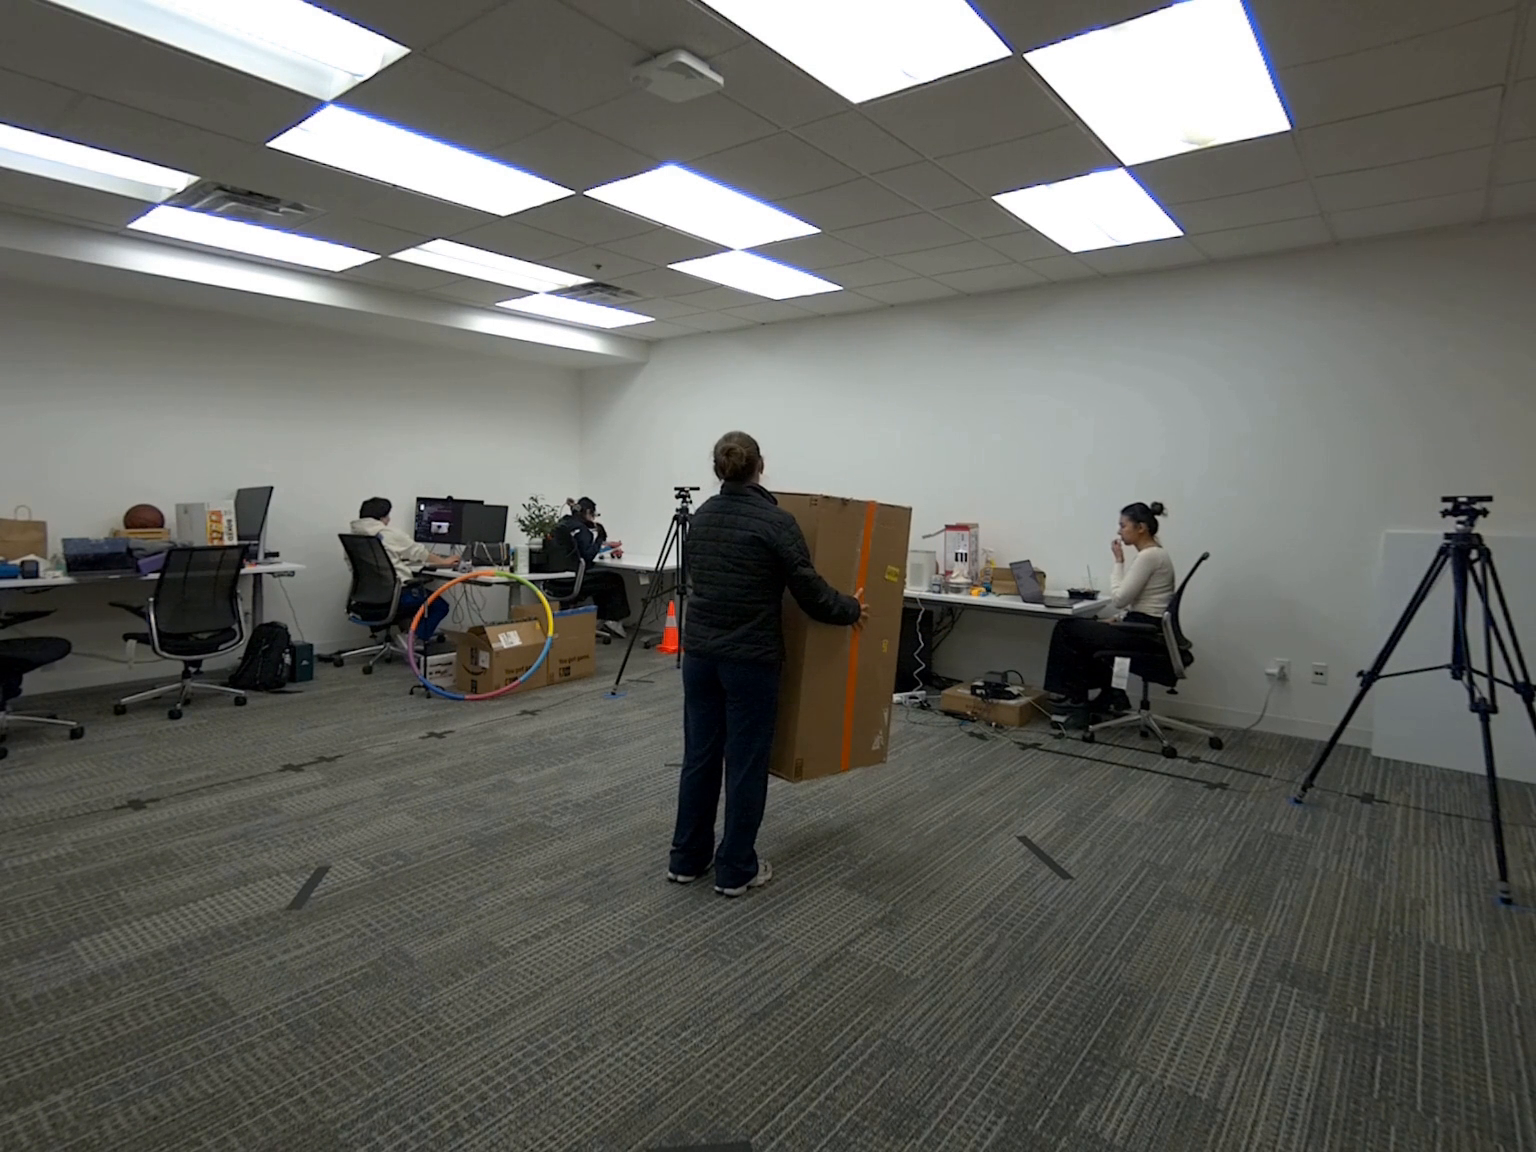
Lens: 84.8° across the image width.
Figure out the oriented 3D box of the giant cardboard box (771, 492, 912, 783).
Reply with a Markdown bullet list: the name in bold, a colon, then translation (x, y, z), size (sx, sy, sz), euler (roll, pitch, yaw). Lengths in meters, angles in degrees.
- **giant cardboard box**: translation (0.202, 0.206, 3.340), size (0.441, 1.025, 0.558), euler (7, 2, 45)
